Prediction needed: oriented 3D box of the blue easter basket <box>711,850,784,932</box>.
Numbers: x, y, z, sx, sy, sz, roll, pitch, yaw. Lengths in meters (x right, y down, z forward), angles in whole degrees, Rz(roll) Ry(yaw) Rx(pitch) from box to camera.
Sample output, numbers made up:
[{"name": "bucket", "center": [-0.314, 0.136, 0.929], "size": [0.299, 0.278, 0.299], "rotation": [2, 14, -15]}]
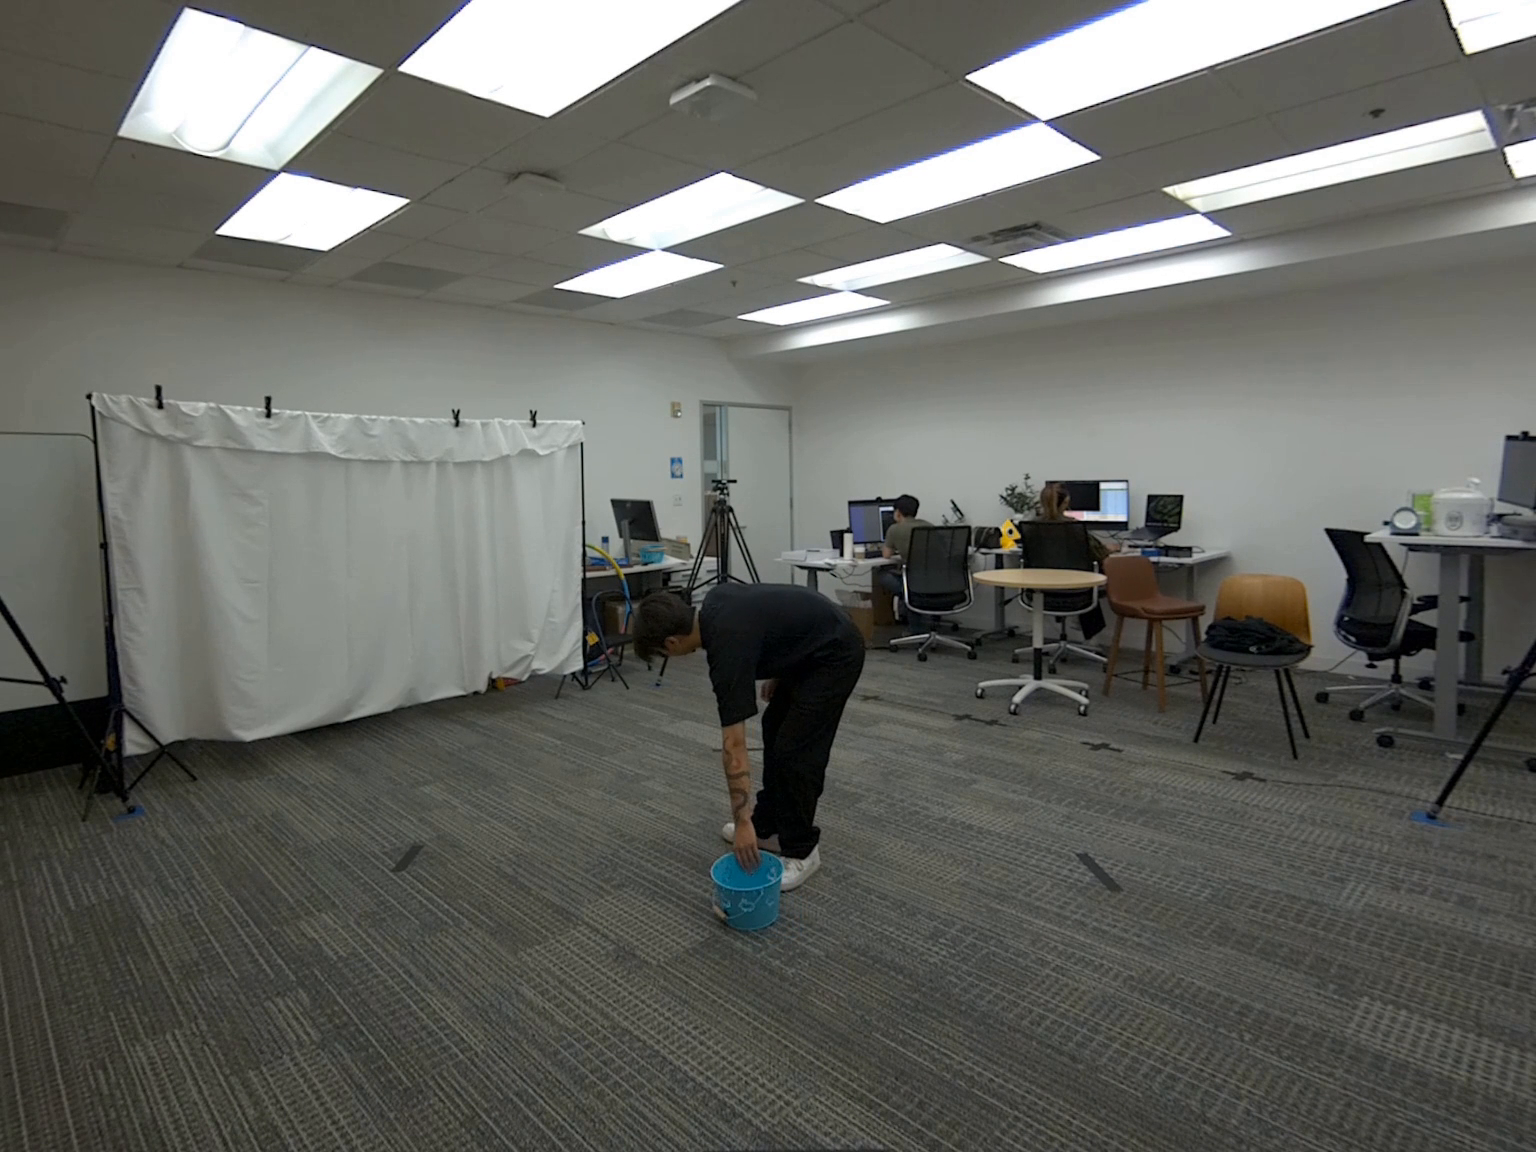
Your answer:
[{"name": "blue easter basket", "center": [-0.056, 1.007, 2.722], "size": [0.243, 0.154, 0.246], "rotation": [-3, 11, -1]}]
